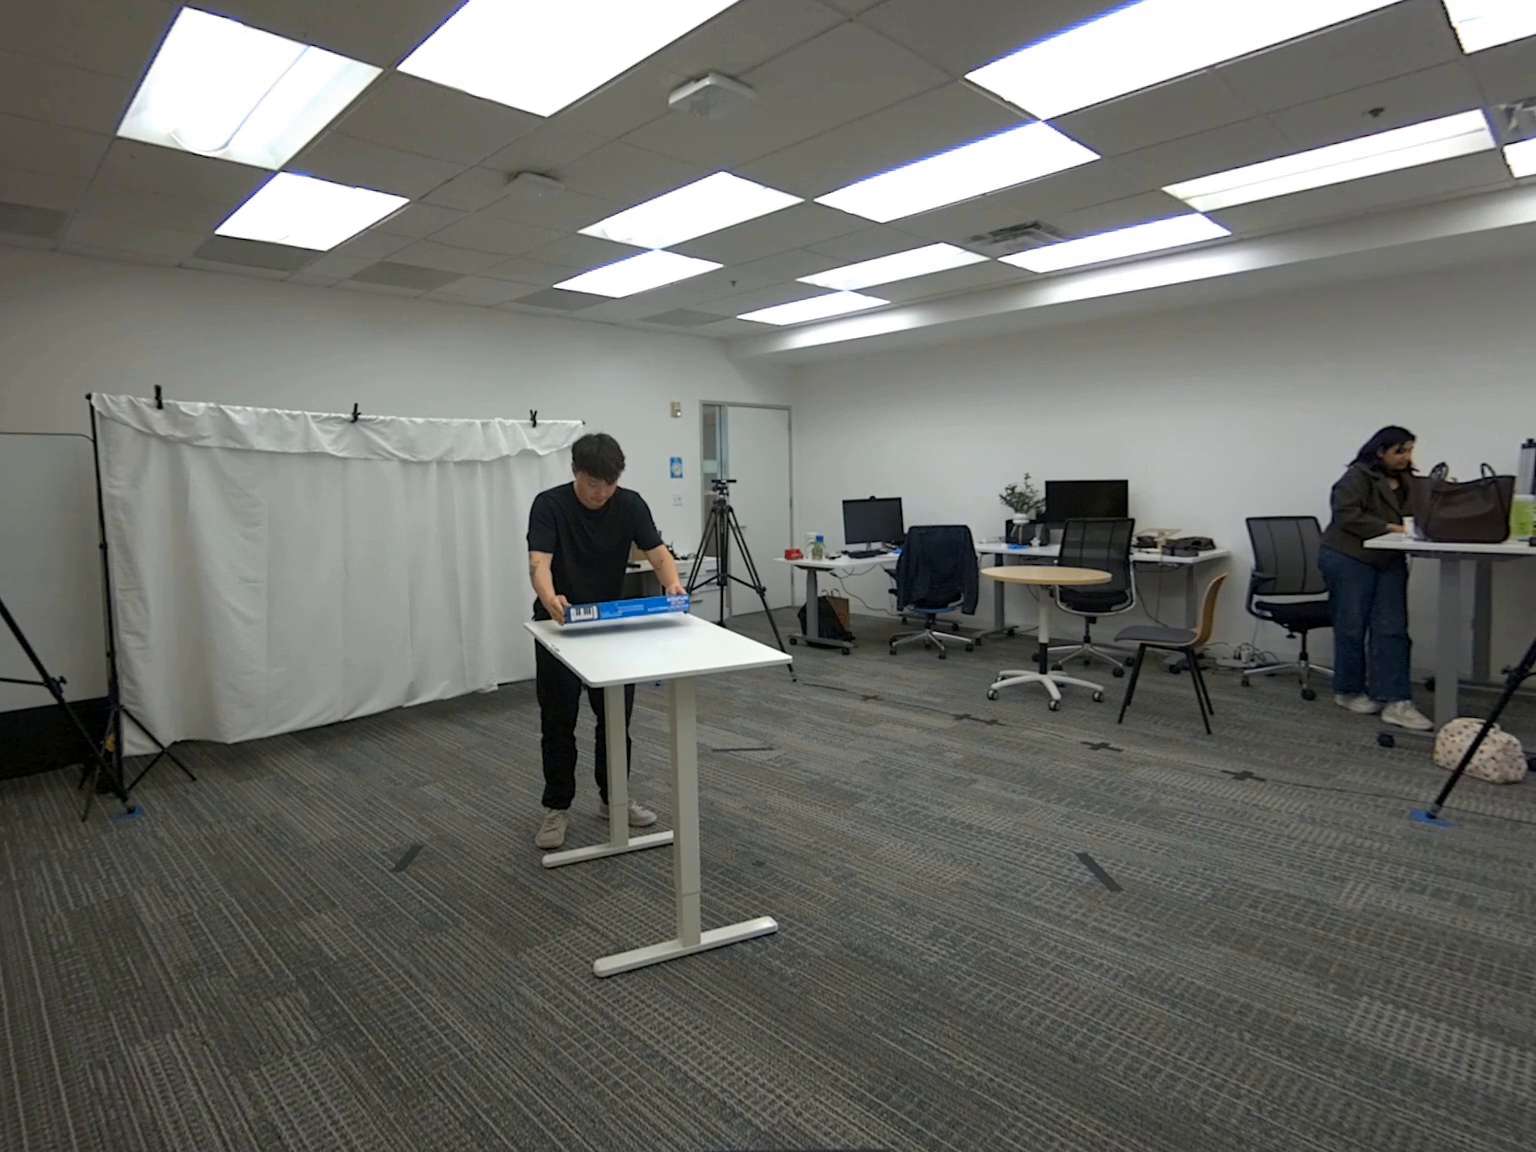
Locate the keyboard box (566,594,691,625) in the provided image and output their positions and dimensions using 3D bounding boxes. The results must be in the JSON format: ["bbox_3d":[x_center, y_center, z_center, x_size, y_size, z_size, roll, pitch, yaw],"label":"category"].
[{"bbox_3d":[-0.516,0.117,2.993,0.428,0.059,0.179,-5,-2,-23],"label":"keyboard box"}]
